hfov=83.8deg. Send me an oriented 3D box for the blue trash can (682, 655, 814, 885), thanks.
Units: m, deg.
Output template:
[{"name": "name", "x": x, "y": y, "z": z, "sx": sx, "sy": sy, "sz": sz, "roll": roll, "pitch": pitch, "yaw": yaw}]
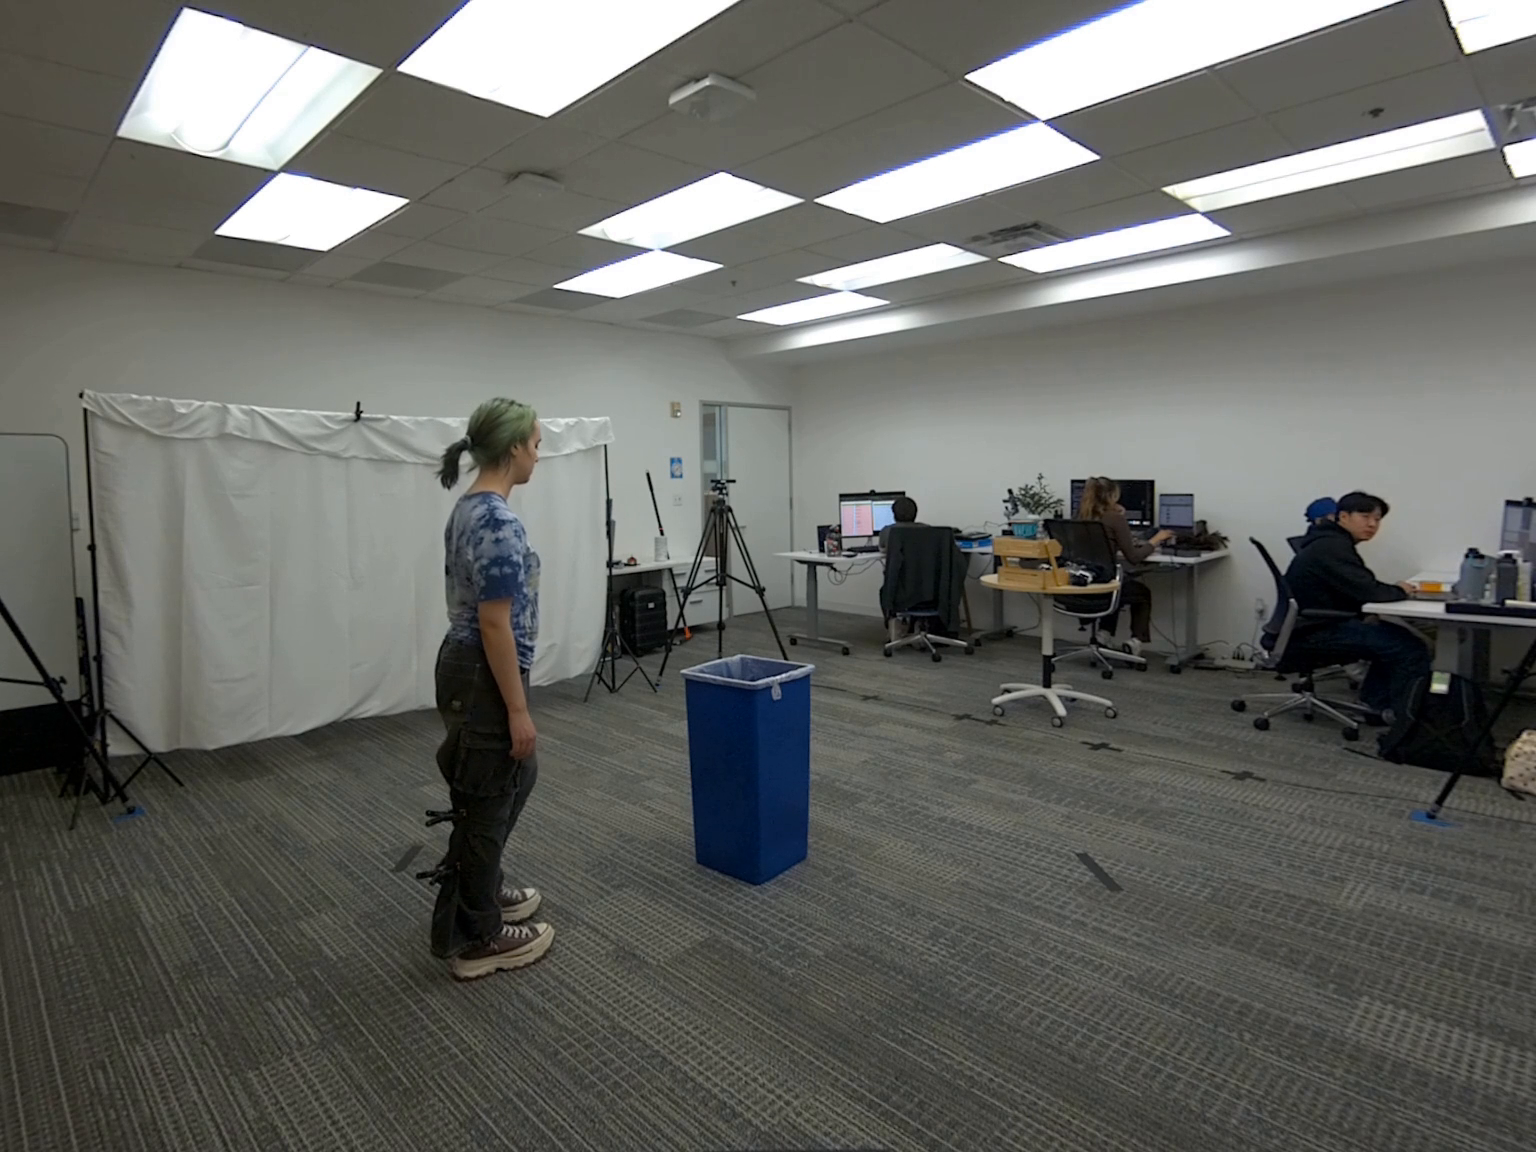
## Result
[{"name": "blue trash can", "x": -0.070, "y": 0.687, "z": 3.126, "sx": 0.385, "sy": 0.711, "sz": 0.368, "roll": 3, "pitch": 5, "yaw": 39}]
